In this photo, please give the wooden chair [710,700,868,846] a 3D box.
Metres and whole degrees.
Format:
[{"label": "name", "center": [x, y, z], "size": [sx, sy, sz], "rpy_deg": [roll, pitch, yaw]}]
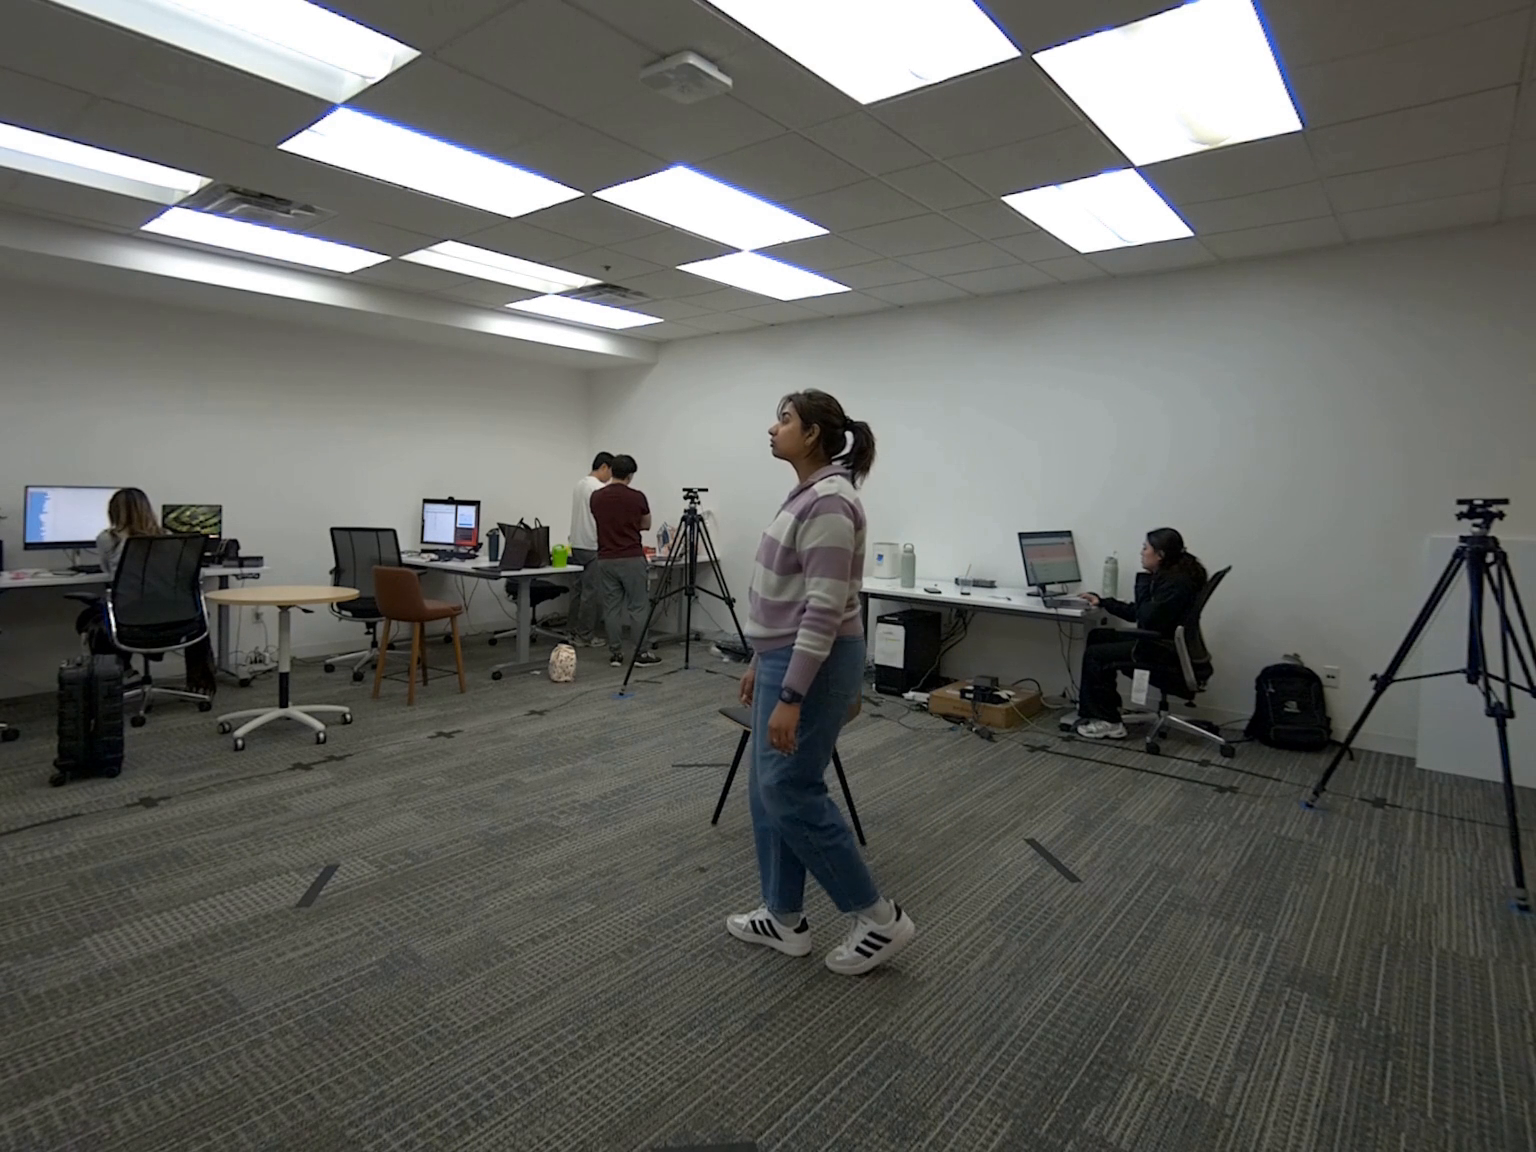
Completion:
[{"label": "wooden chair", "center": [0.074, 0.613, 3.422], "size": [0.465, 0.872, 0.541], "rpy_deg": [-1, 8, -31]}]
